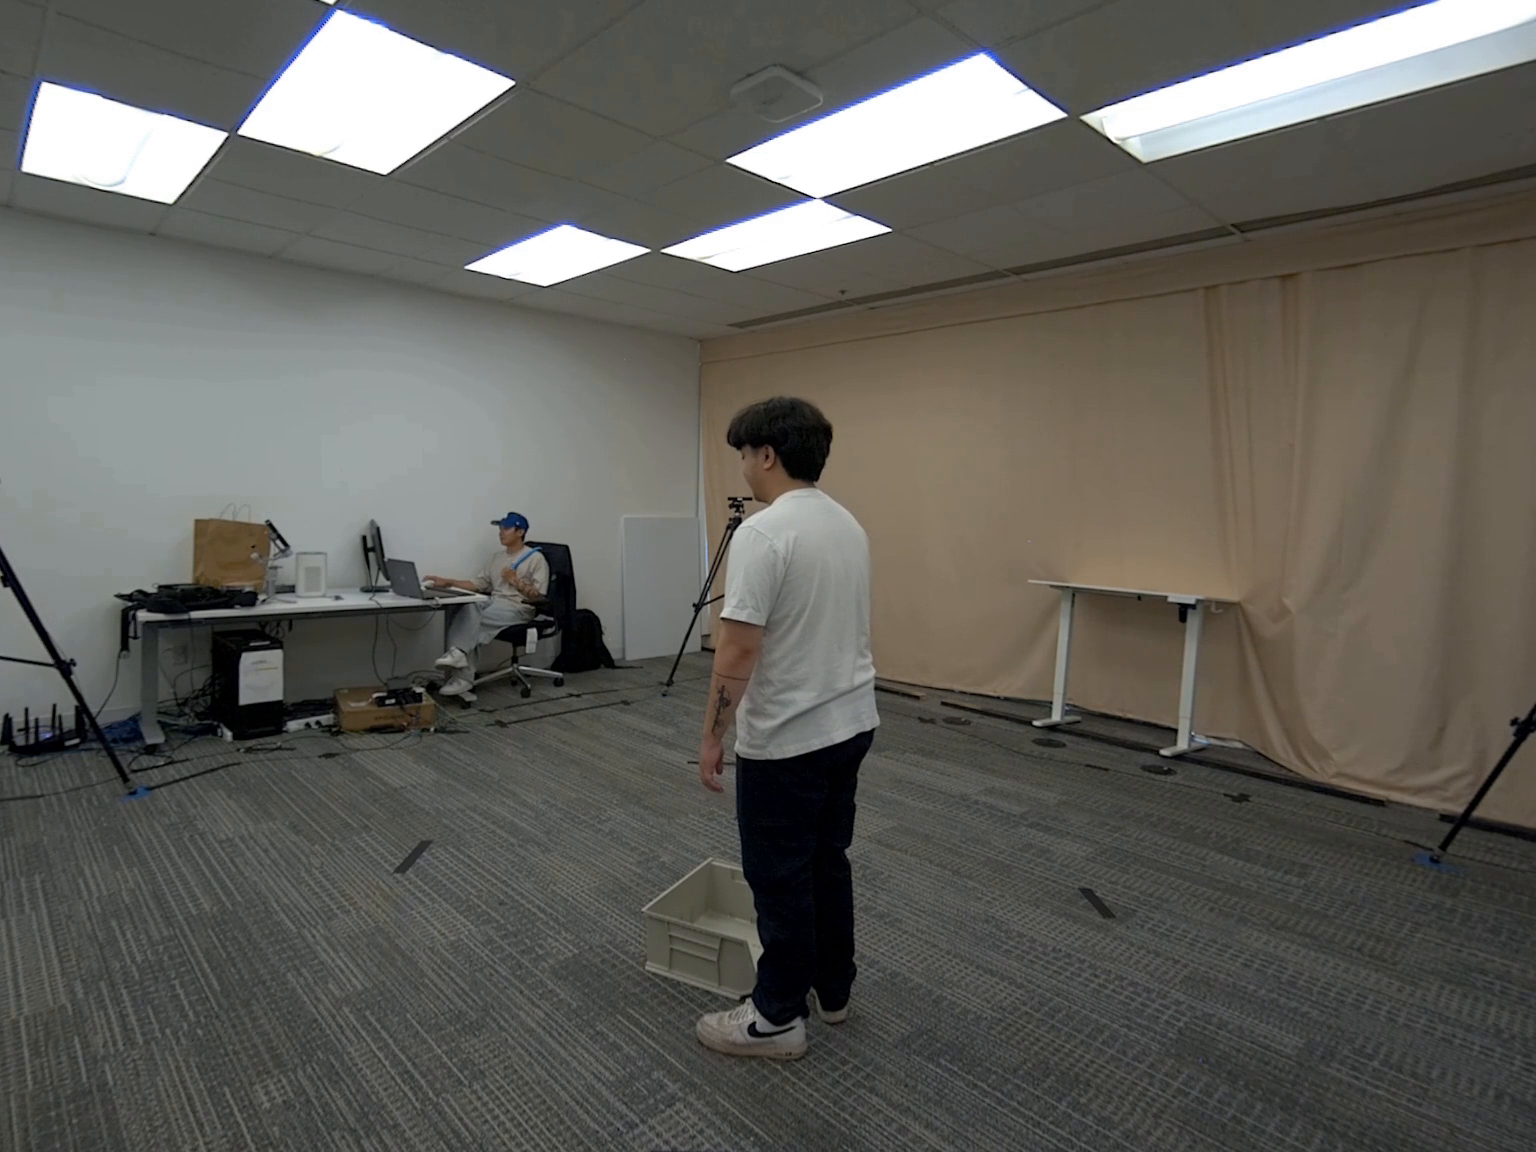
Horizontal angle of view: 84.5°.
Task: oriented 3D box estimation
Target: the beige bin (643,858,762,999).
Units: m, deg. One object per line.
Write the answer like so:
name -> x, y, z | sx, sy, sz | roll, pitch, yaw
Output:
beige bin -> -0.121, 1.067, 2.568 | 0.385, 0.188, 0.415 | 3, 6, 26
